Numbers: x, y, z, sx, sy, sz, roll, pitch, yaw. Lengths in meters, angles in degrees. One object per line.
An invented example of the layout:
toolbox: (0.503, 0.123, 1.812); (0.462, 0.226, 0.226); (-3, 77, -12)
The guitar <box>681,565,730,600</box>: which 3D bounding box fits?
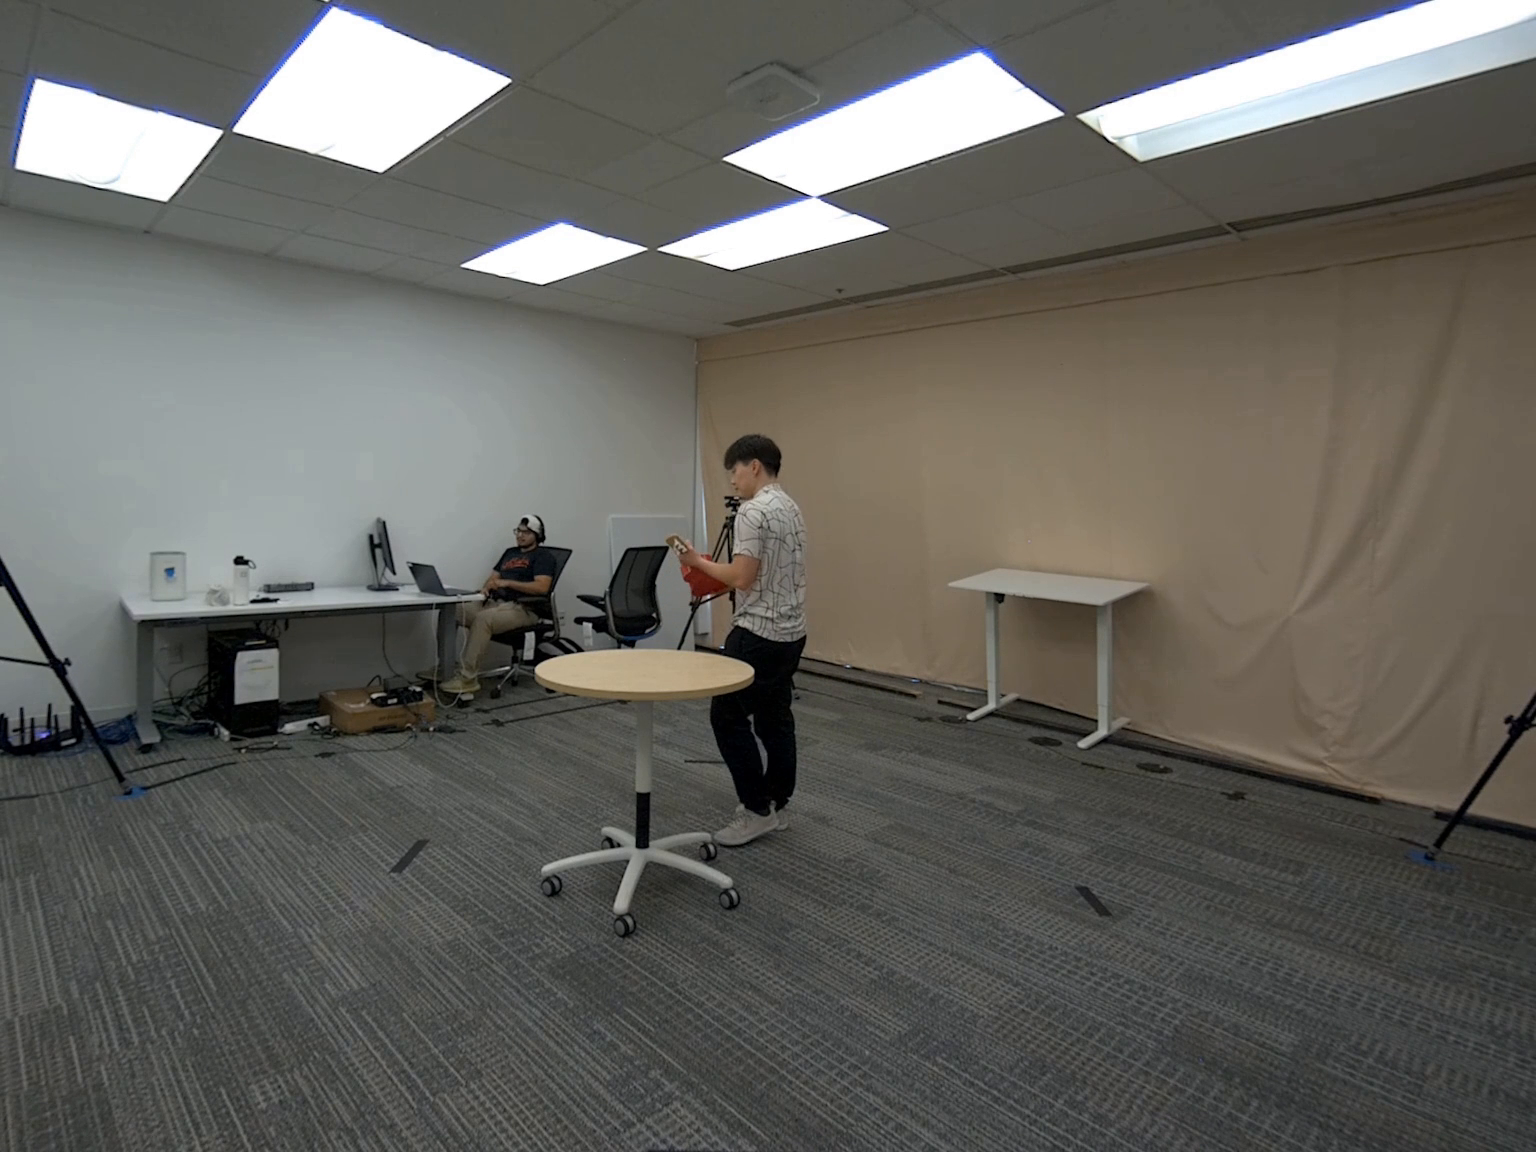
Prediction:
guitar: (-0.347, -0.032, 3.582); (0.194, 0.072, 0.483); (-26, -29, 16)
